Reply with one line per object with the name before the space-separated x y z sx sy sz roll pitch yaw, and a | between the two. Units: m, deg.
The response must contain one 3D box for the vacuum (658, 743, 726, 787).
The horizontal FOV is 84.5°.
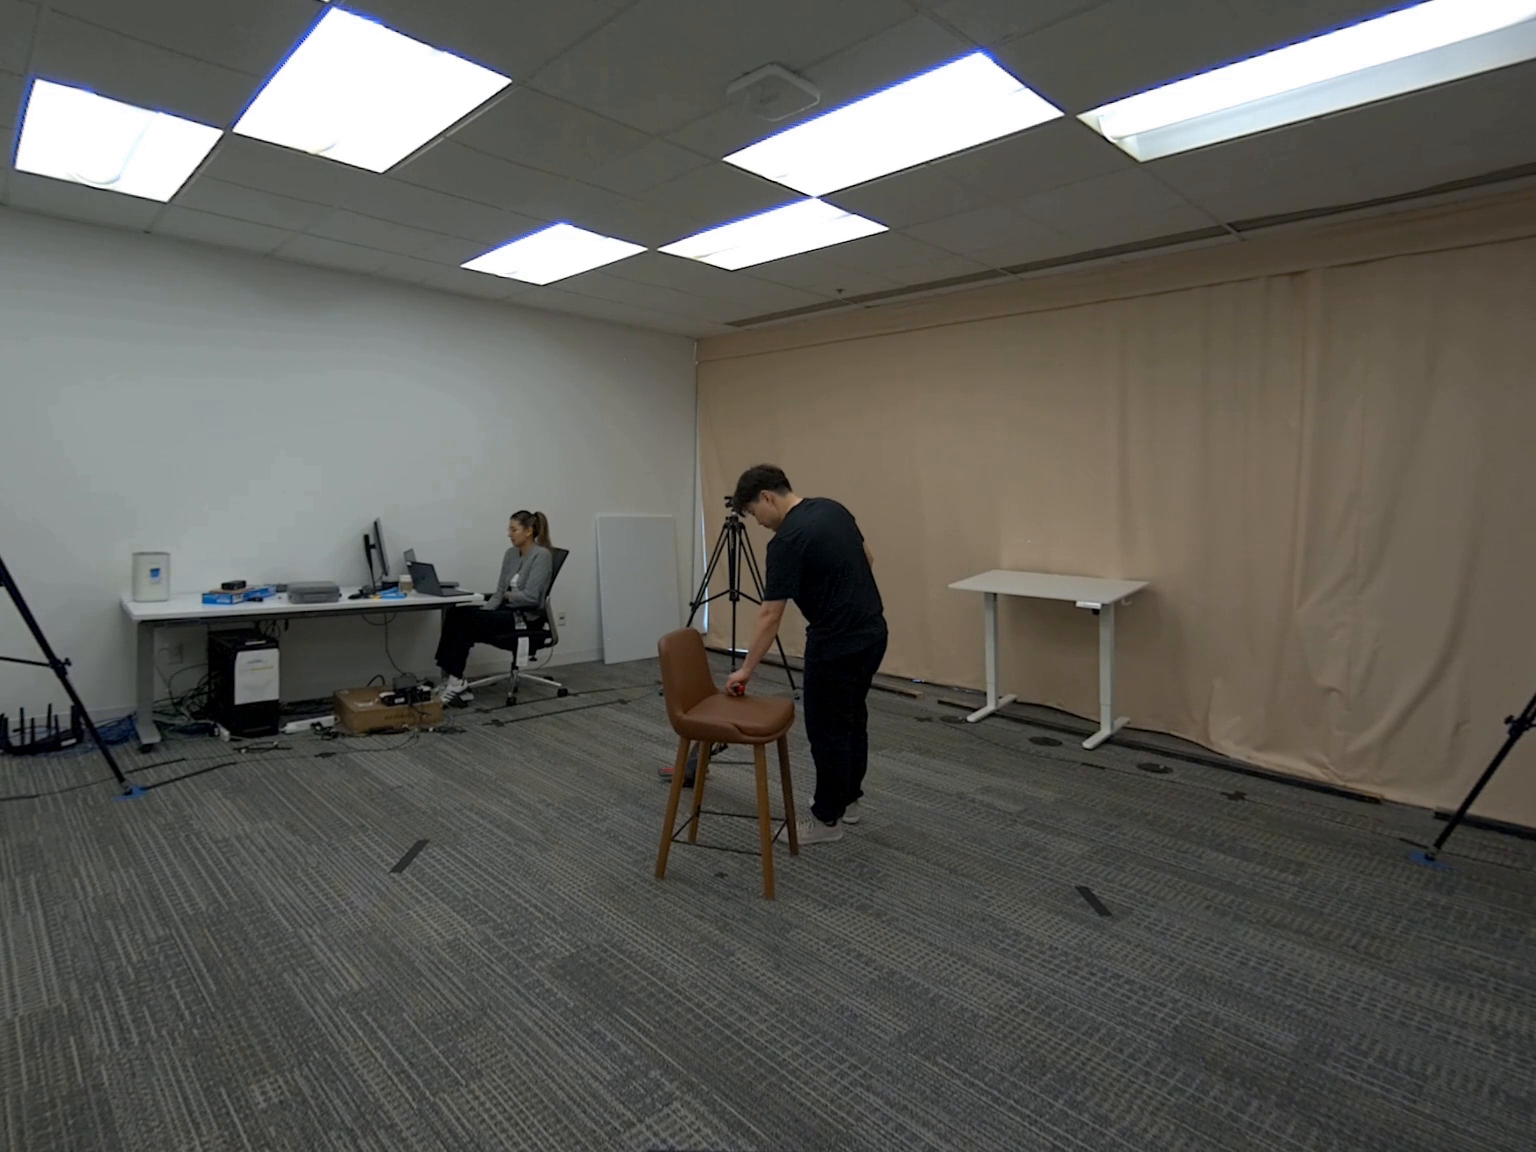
vacuum | -0.263 0.712 3.713 0.249 0.147 1.040 2 -32 -20
